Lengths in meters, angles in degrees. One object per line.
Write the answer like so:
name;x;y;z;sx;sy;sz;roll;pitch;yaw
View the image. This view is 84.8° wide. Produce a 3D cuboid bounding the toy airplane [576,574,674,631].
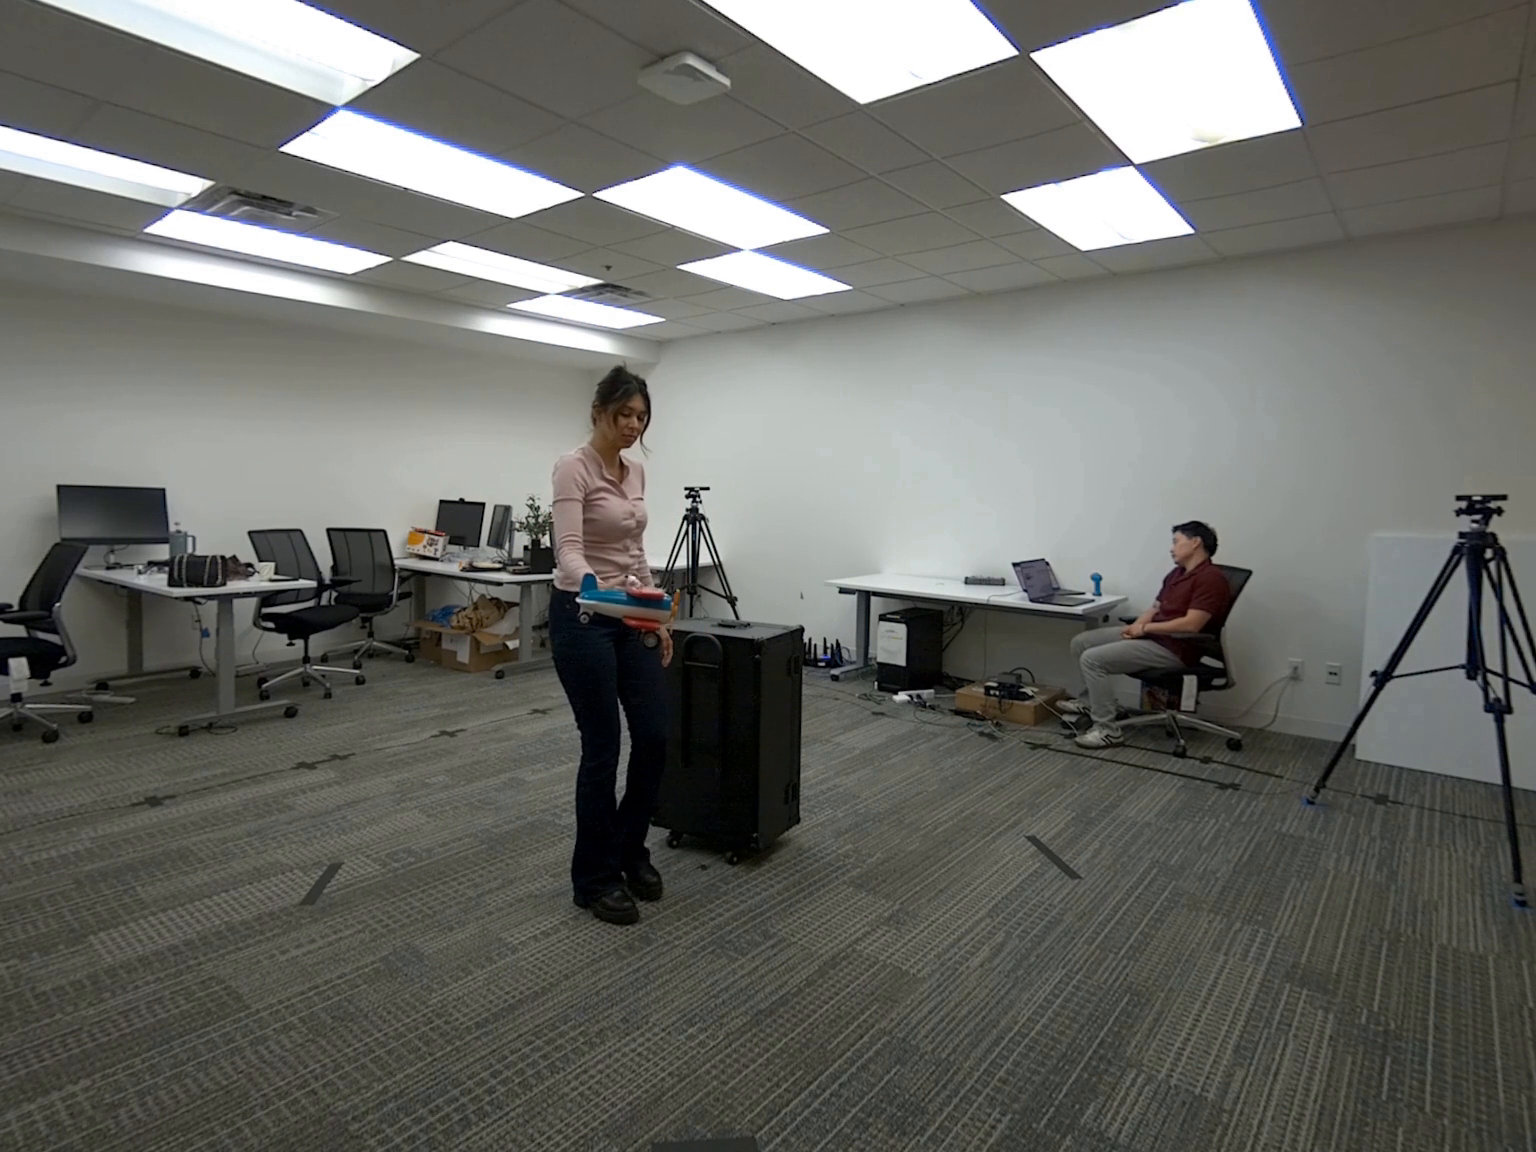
toy airplane;-0.377;0.084;2.187;0.249;0.157;0.261;24;-4;-38
